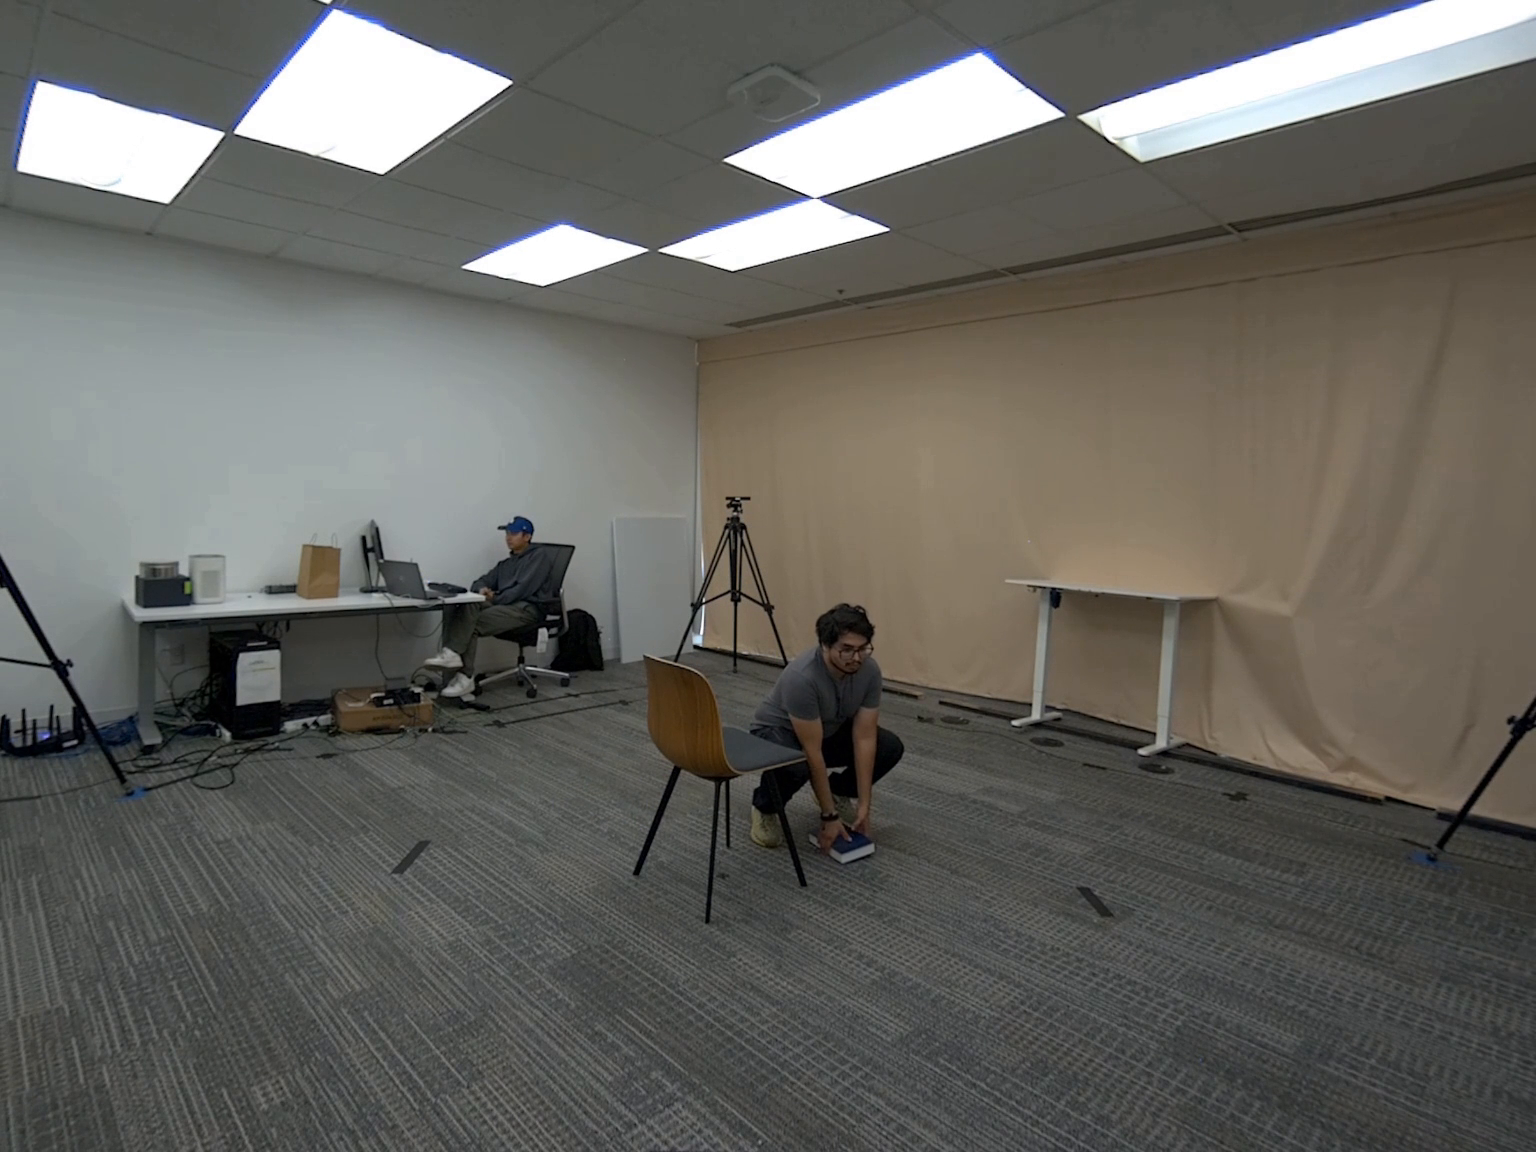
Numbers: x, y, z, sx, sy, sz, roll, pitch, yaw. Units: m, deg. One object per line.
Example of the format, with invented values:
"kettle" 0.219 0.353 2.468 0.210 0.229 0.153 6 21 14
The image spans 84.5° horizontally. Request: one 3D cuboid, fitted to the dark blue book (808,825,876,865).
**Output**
"dark blue book" 0.274 1.064 3.364 0.161 0.045 0.251 -8 12 -25
